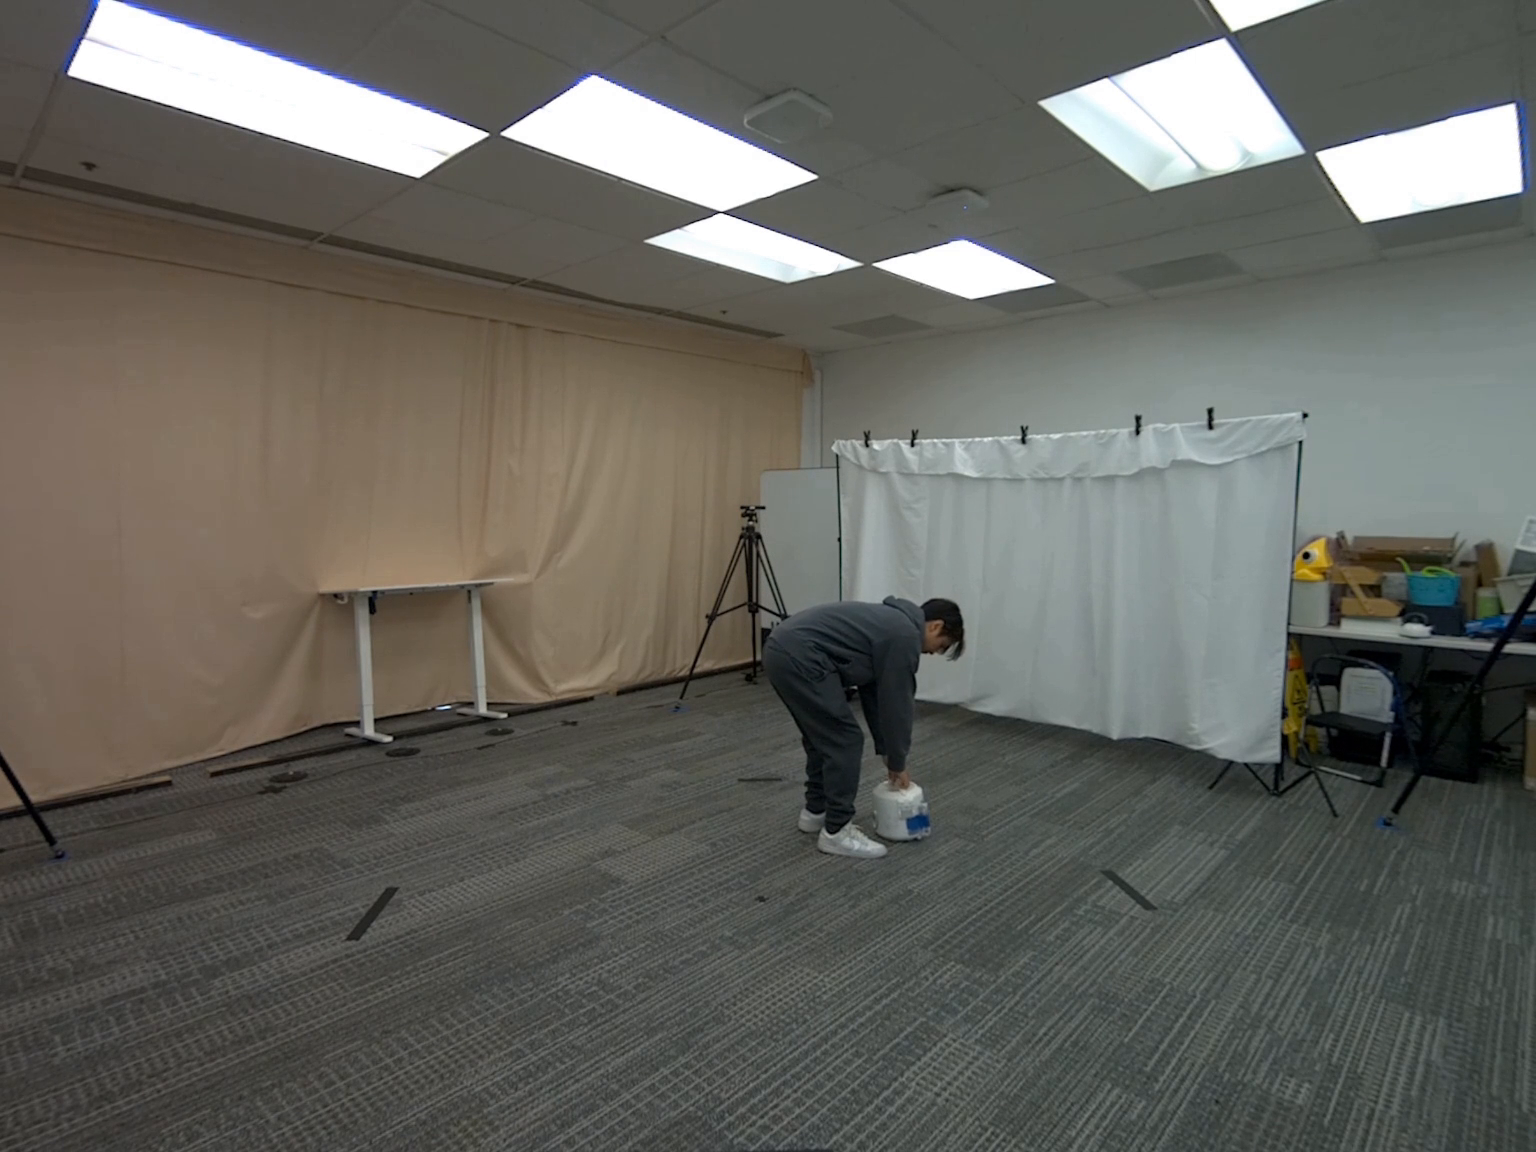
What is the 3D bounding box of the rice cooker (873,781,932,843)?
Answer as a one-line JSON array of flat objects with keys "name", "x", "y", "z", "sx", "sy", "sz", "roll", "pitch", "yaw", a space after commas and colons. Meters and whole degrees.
[{"name": "rice cooker", "x": 0.554, "y": 0.977, "z": 3.551, "sx": 0.216, "sy": 0.232, "sz": 0.223, "roll": -4, "pitch": 5, "yaw": -8}]
